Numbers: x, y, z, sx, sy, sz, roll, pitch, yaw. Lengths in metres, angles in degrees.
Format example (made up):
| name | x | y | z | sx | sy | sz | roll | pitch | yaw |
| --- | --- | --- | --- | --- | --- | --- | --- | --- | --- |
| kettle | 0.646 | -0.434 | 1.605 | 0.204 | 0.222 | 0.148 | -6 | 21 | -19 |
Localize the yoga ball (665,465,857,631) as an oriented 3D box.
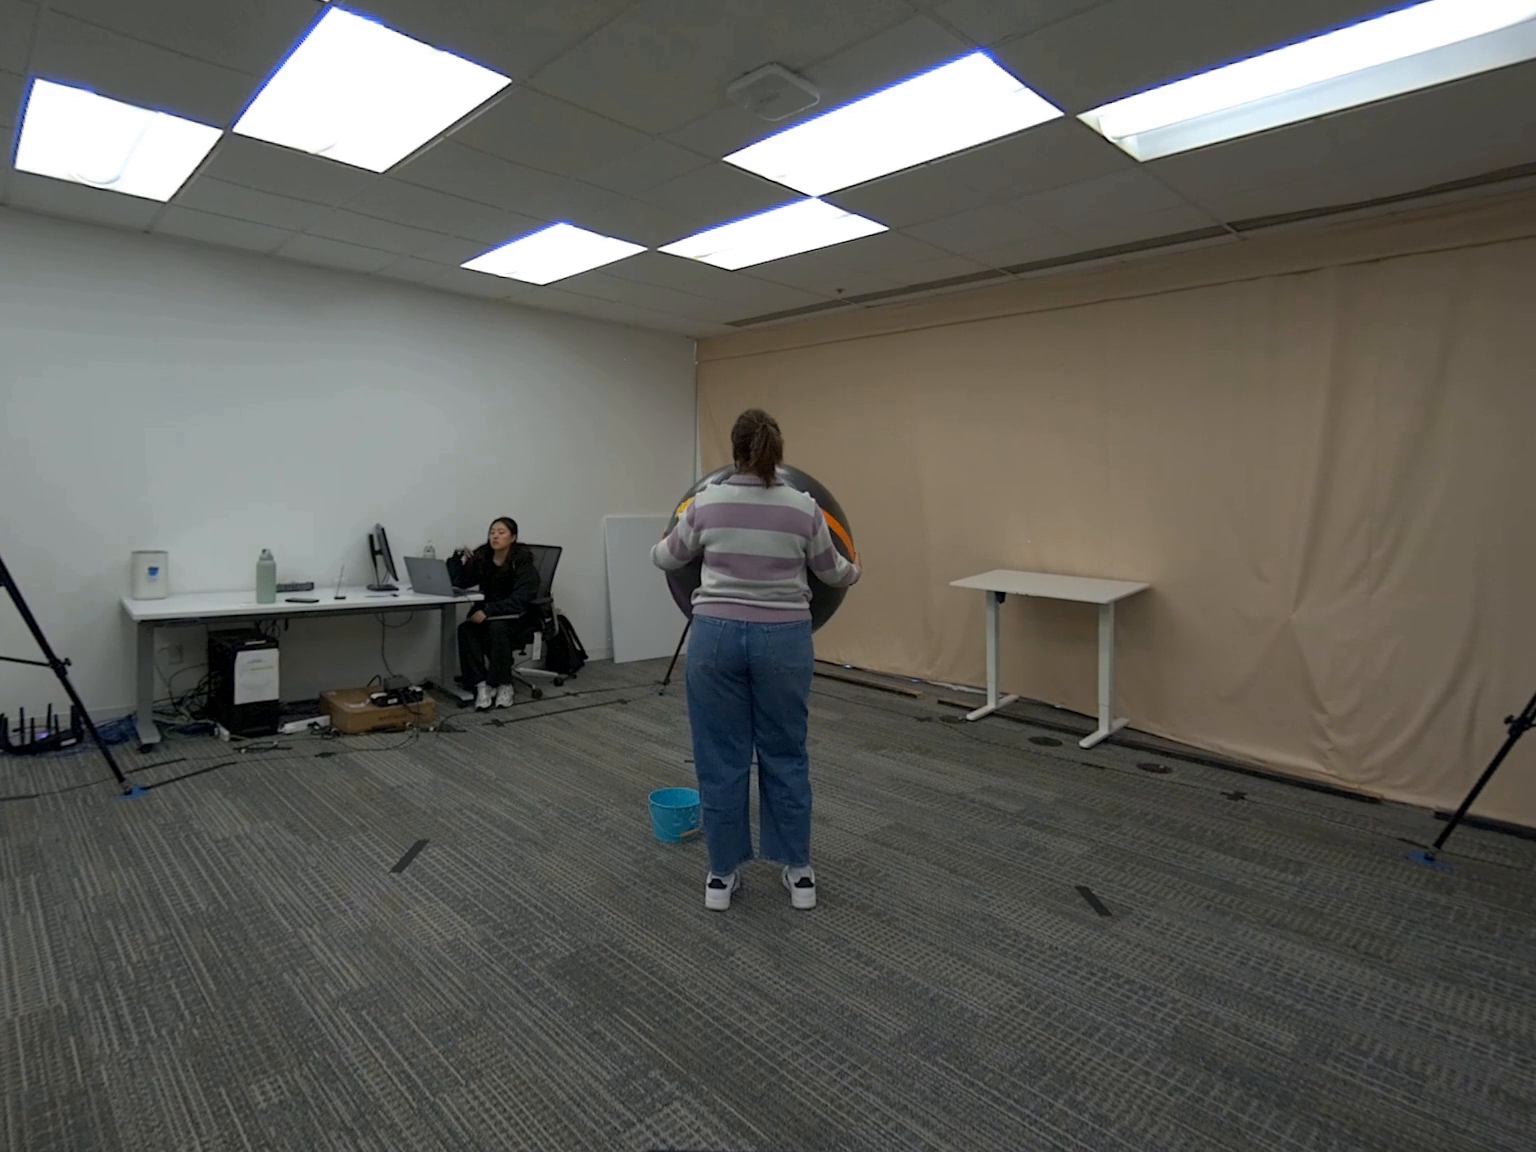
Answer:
| name | x | y | z | sx | sy | sz | roll | pitch | yaw |
| --- | --- | --- | --- | --- | --- | --- | --- | --- | --- |
| yoga ball | -0.037 | -0.076 | 3.374 | 0.757 | 0.756 | 0.761 | 1 | 4 | -1 |
